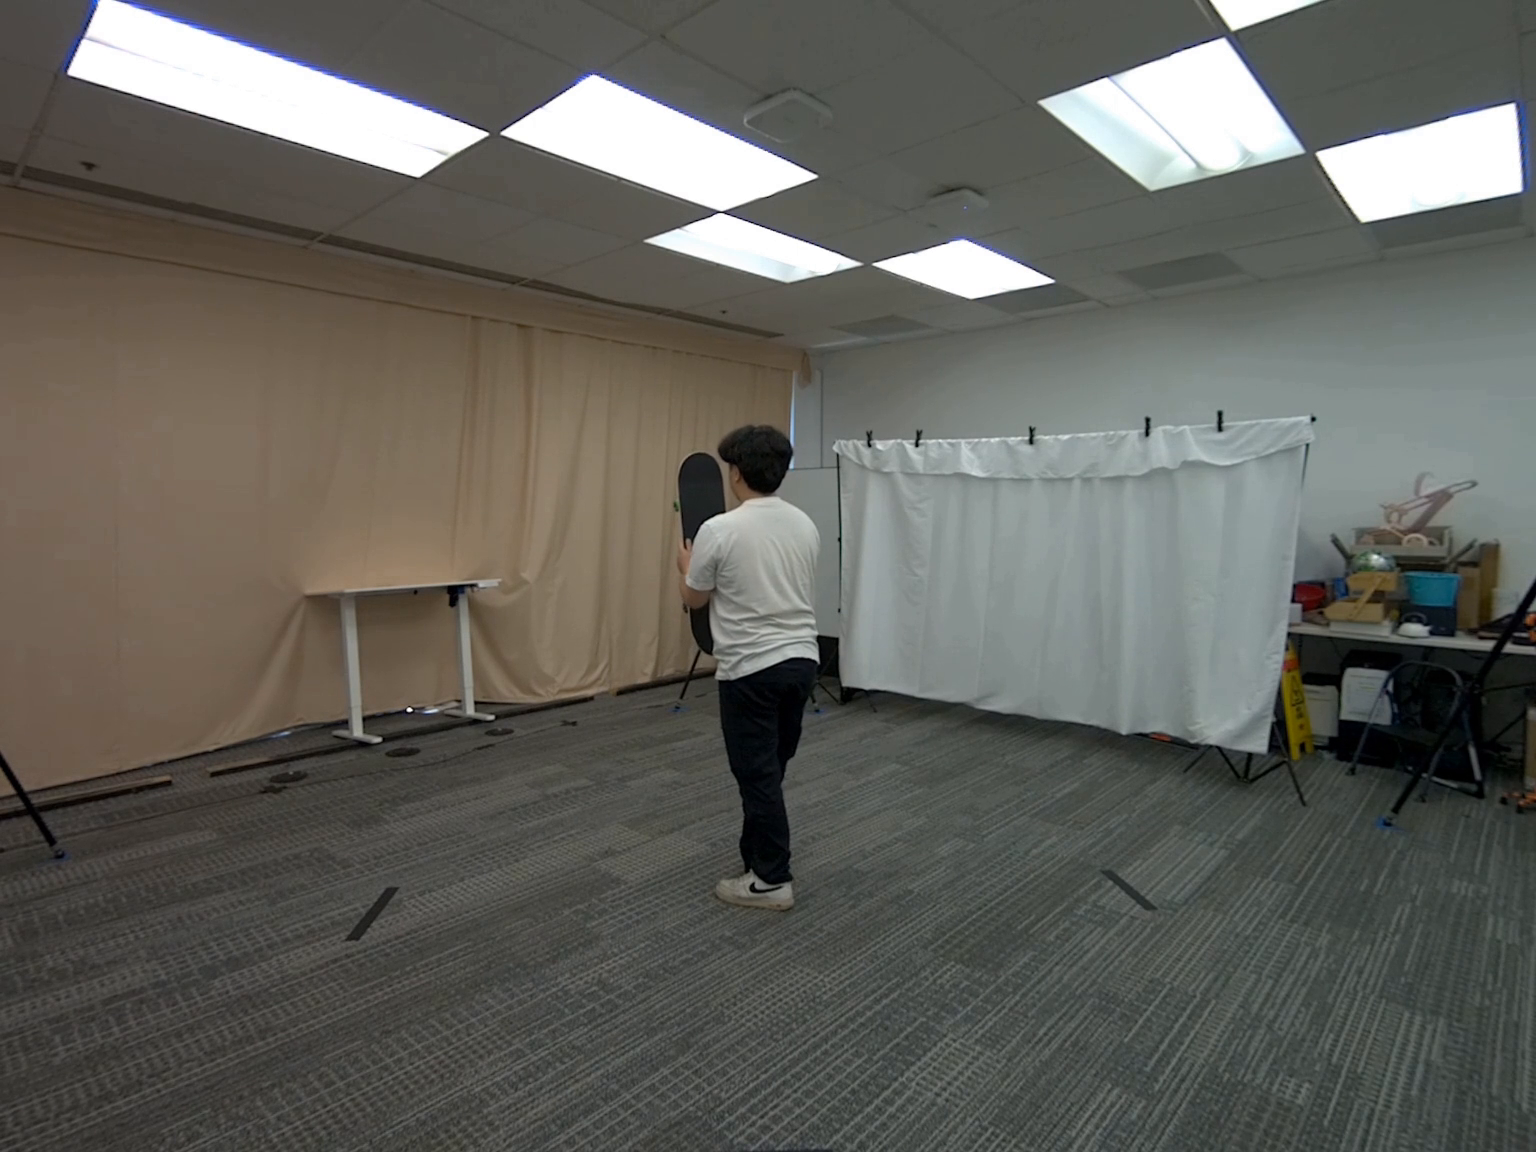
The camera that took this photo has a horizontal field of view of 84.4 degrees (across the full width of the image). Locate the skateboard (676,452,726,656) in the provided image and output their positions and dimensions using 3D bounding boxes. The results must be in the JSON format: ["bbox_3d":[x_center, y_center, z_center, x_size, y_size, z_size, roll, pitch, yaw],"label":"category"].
[{"bbox_3d":[-0.251,-0.084,3.286,0.189,0.785,0.113,-5,0,-24],"label":"skateboard"}]
